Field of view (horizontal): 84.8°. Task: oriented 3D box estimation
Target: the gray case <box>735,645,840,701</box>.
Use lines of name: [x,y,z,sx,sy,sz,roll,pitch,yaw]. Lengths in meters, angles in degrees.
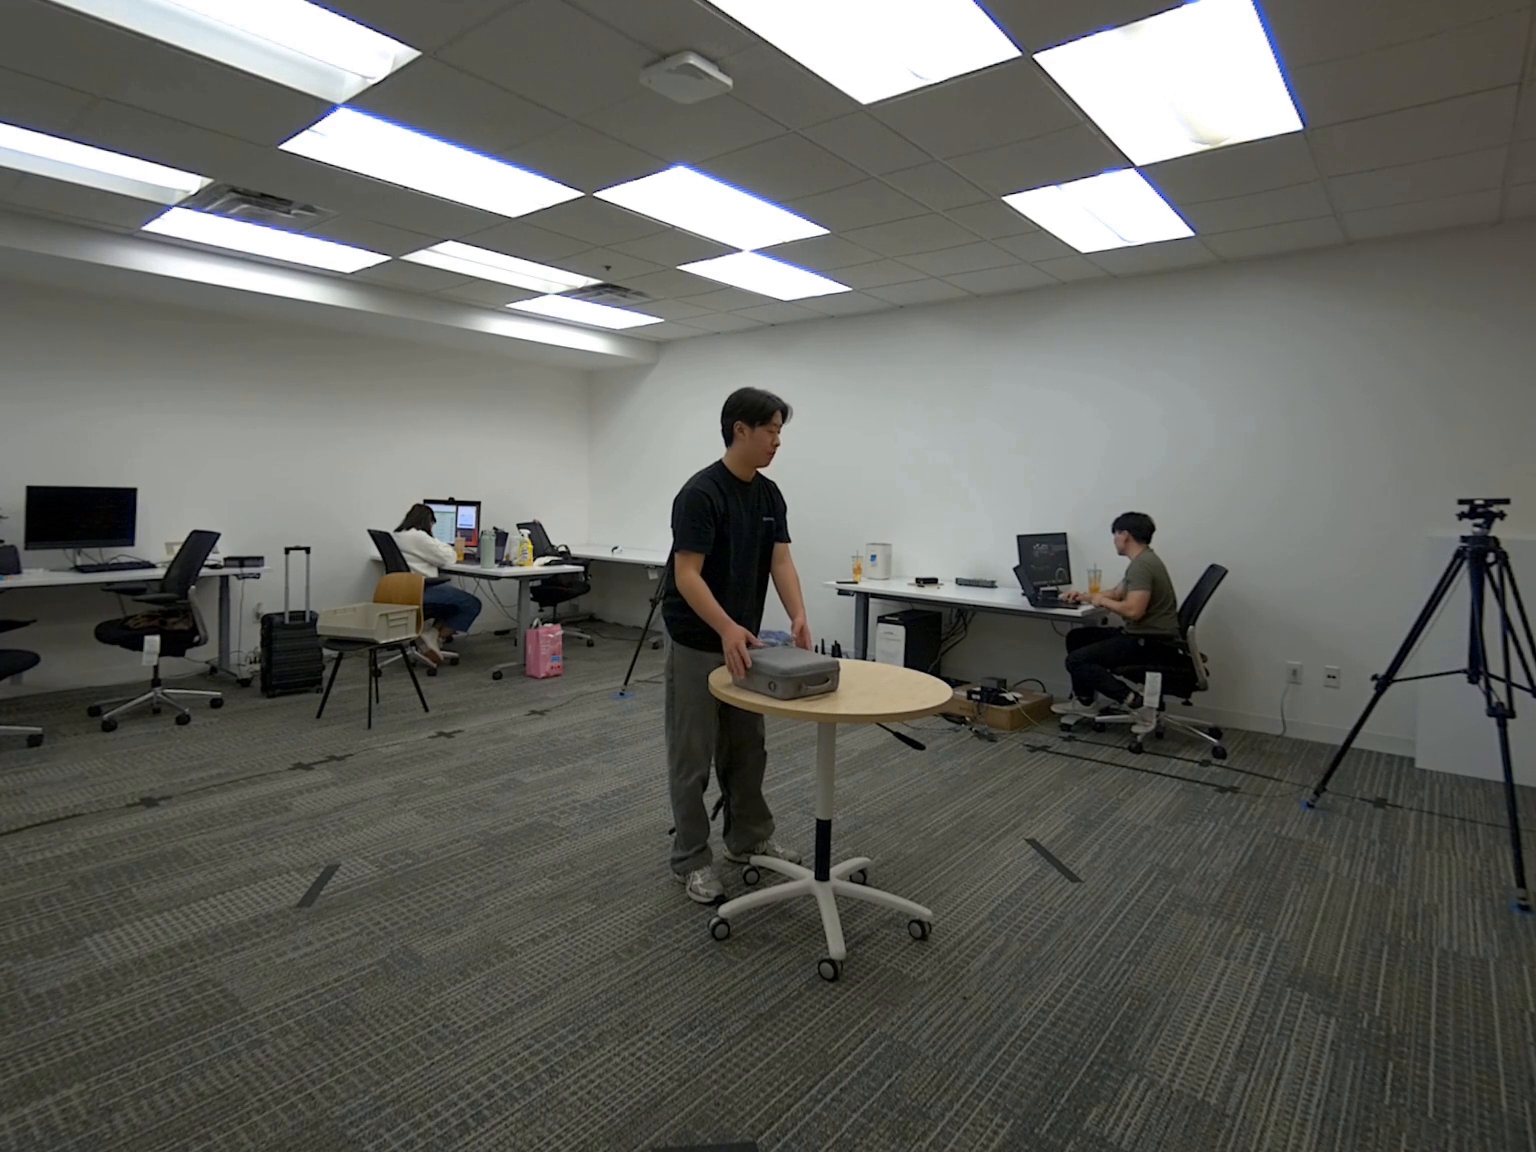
gray case: [0.061,0.292,2.594,0.255,0.102,0.297,-2,8,-40]
